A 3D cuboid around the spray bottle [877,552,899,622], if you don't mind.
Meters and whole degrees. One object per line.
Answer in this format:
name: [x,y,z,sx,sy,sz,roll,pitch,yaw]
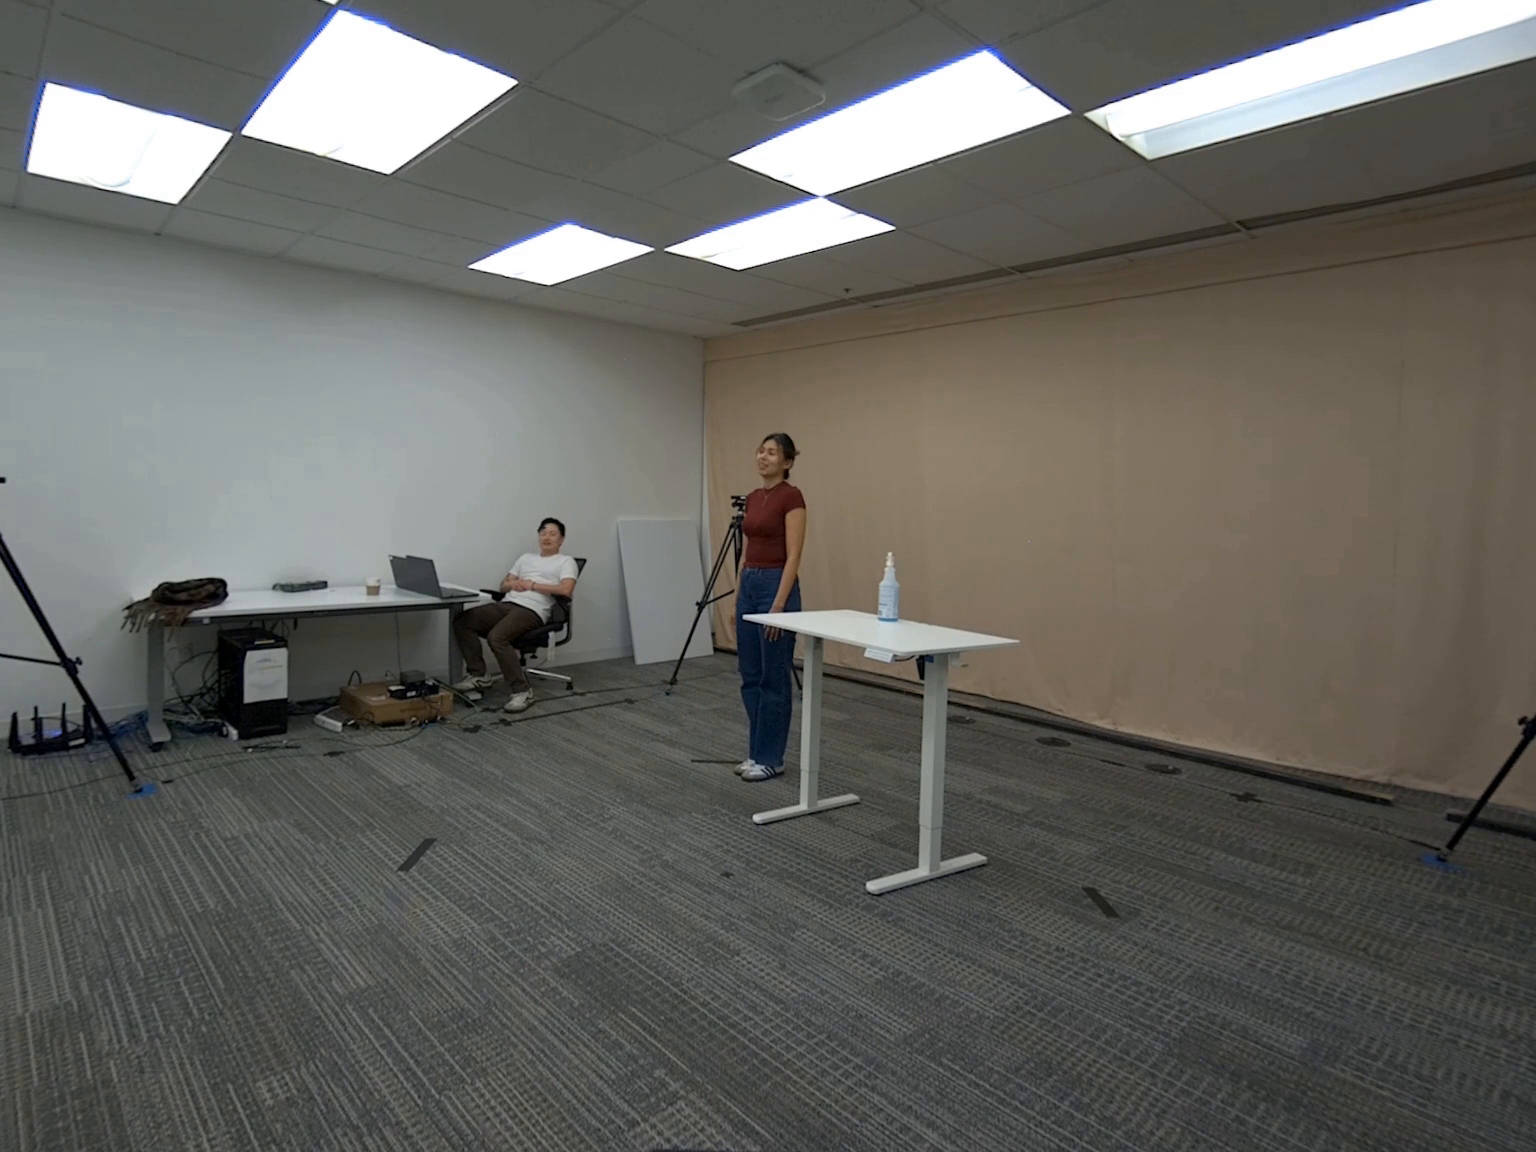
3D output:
spray bottle: [0.520,0.049,3.635,0.089,0.296,0.088,3,4,37]
